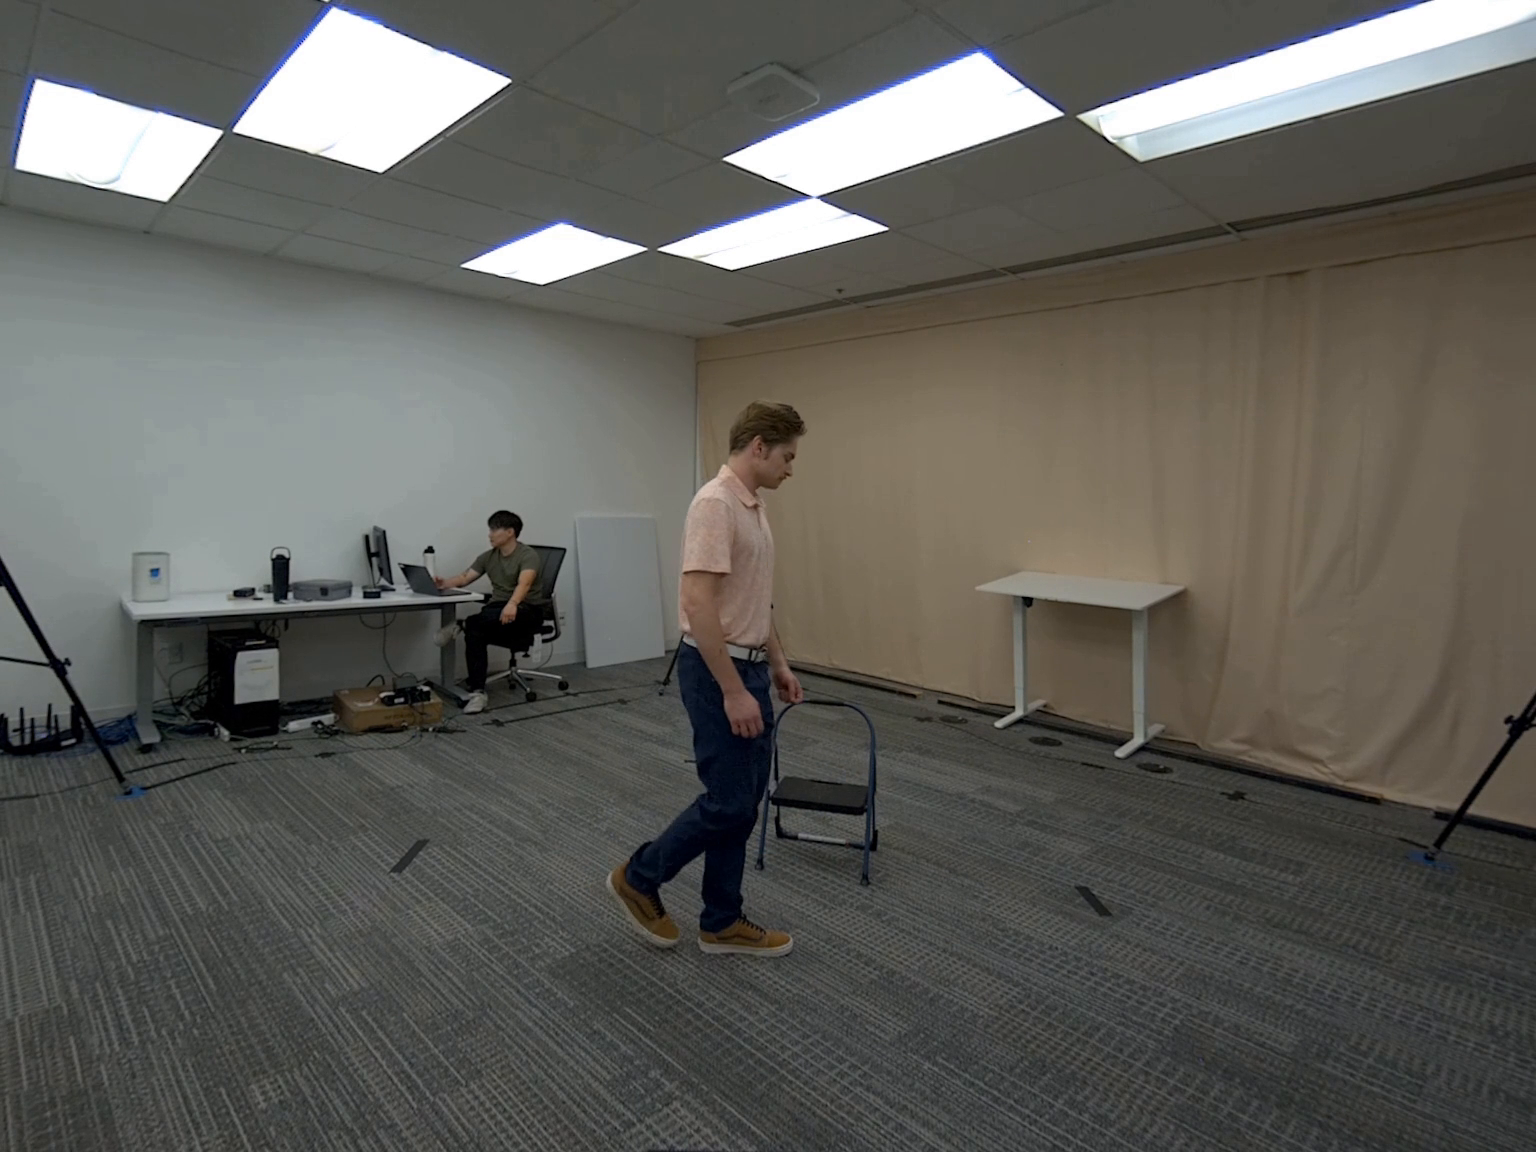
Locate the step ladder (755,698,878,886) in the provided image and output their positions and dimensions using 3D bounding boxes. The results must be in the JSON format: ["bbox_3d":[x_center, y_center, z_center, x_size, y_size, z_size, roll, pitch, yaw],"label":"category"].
[{"bbox_3d":[0.202,0.796,3.255,0.436,0.605,0.345,2,3,15],"label":"step ladder"}]
